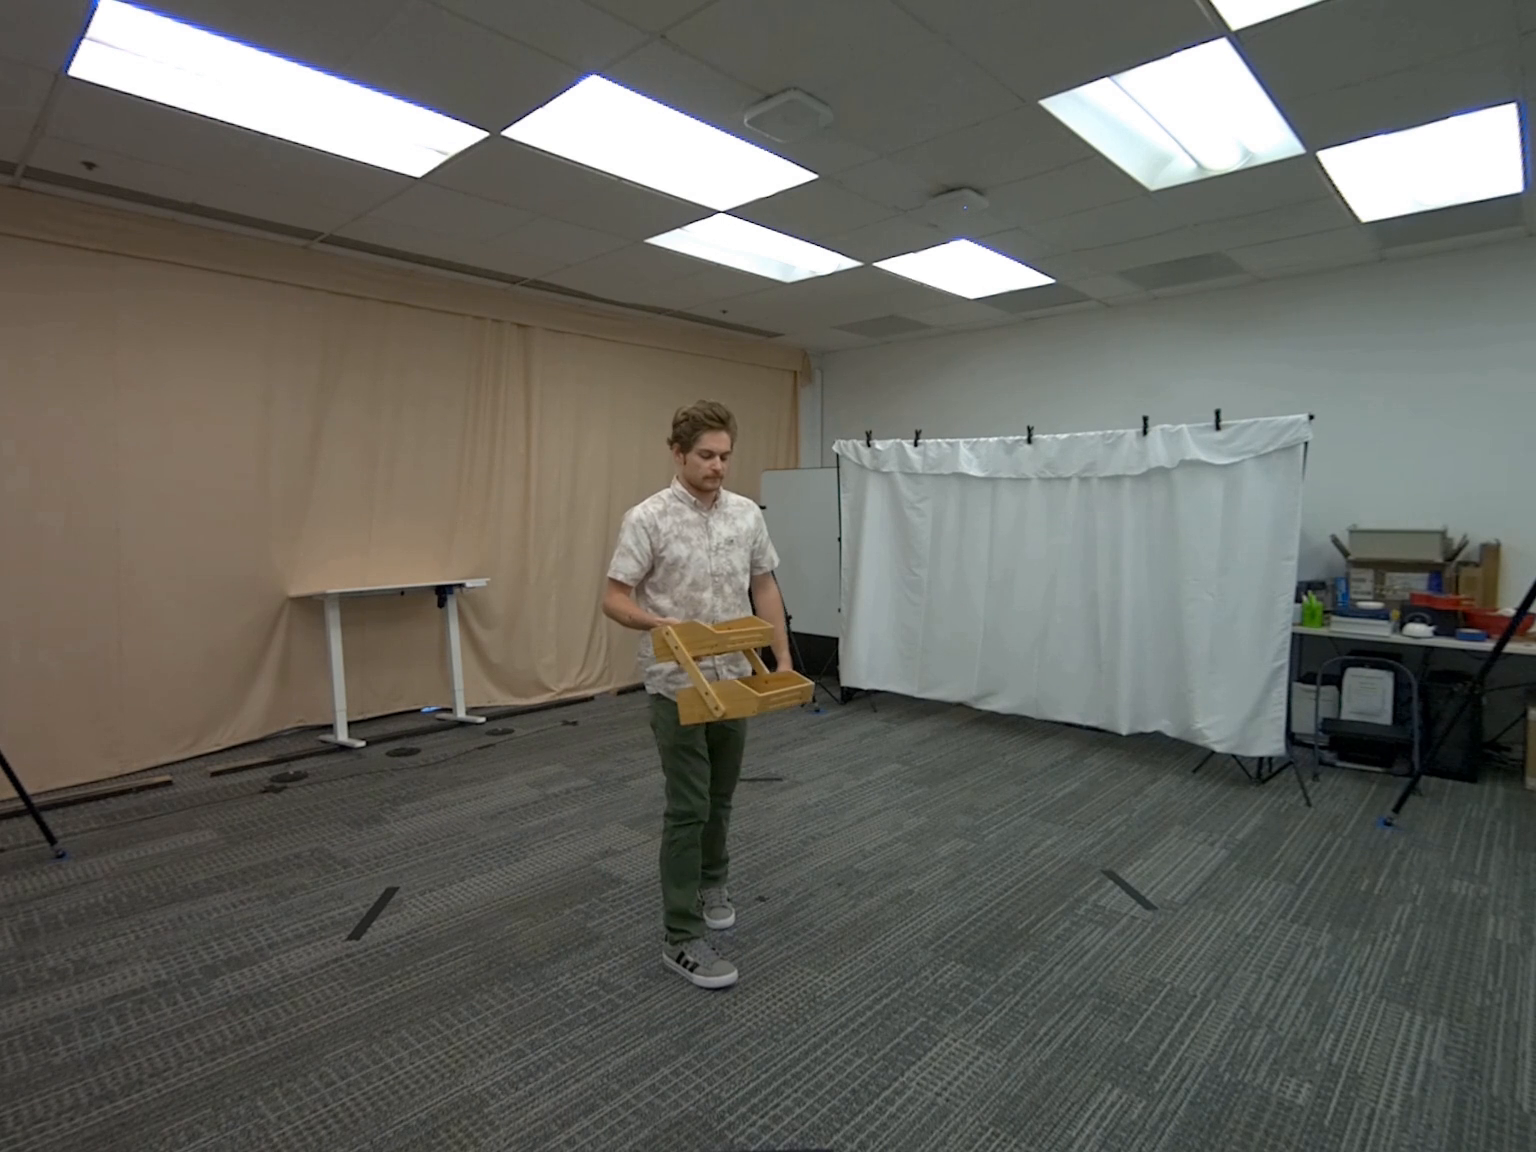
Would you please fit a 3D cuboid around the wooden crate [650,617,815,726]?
[{"bbox_3d":[-0.086,0.236,2.268,0.309,0.275,0.315,-15,-8,30],"label":"wooden crate"}]
